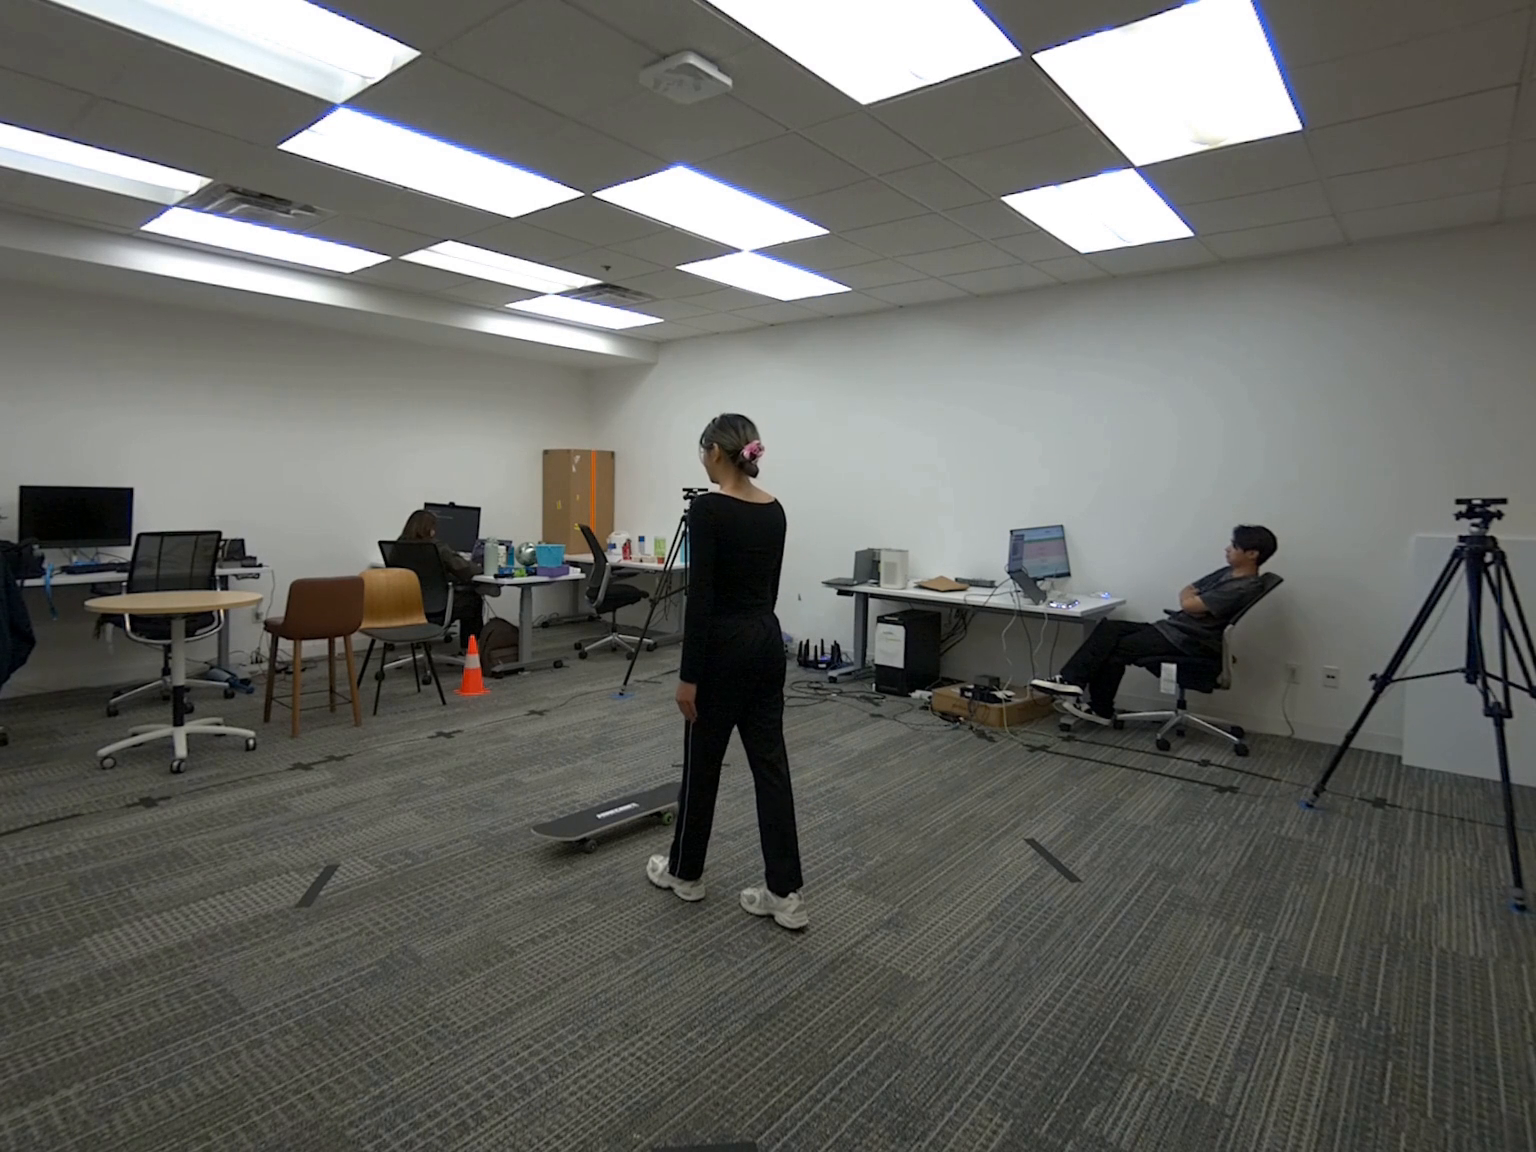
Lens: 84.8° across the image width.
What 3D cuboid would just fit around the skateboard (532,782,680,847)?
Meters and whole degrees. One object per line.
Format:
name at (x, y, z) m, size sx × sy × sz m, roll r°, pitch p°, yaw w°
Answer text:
skateboard at (-0.618, 0.979, 3.440) m, size 0.200 × 0.110 × 0.762 m, roll 4°, pitch 7°, yaw 42°
